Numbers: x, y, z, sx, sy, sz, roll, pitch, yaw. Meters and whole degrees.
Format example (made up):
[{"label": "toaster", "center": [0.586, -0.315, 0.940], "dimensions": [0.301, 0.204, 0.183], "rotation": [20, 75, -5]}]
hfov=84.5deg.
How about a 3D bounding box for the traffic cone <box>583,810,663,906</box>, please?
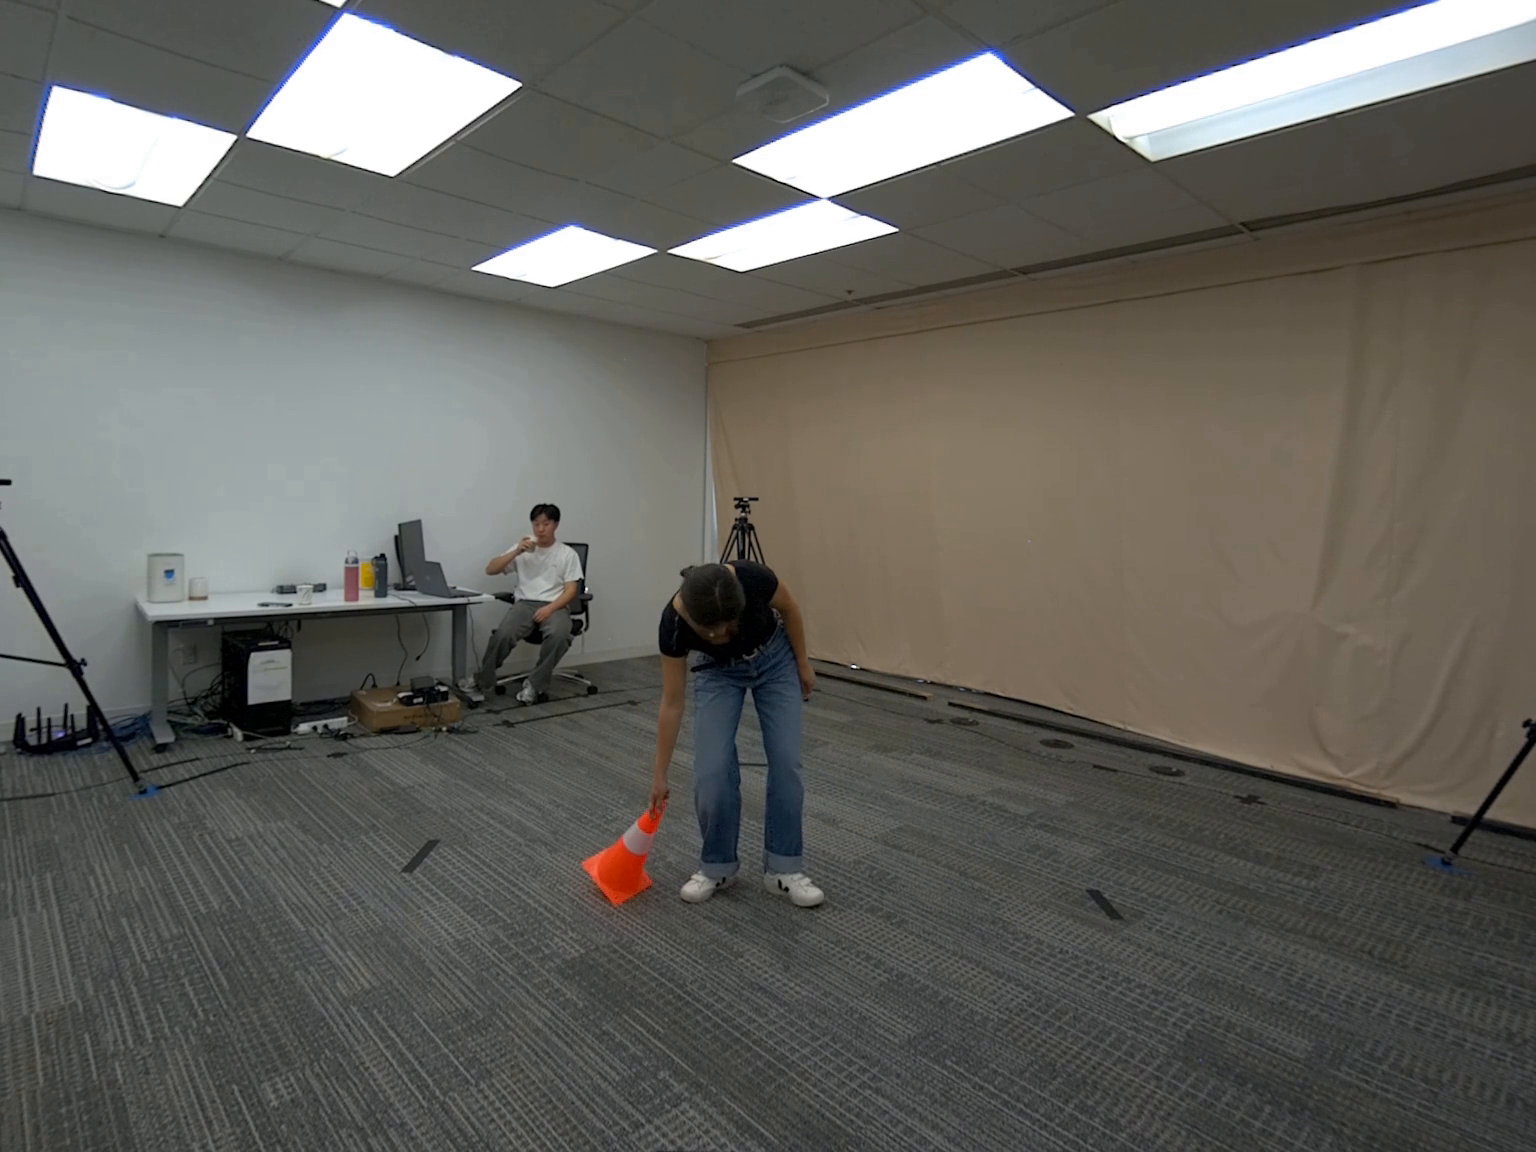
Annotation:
[{"label": "traffic cone", "center": [-0.446, 0.904, 2.905], "dimensions": [0.210, 0.381, 0.199], "rotation": [40, 25, 25]}]
